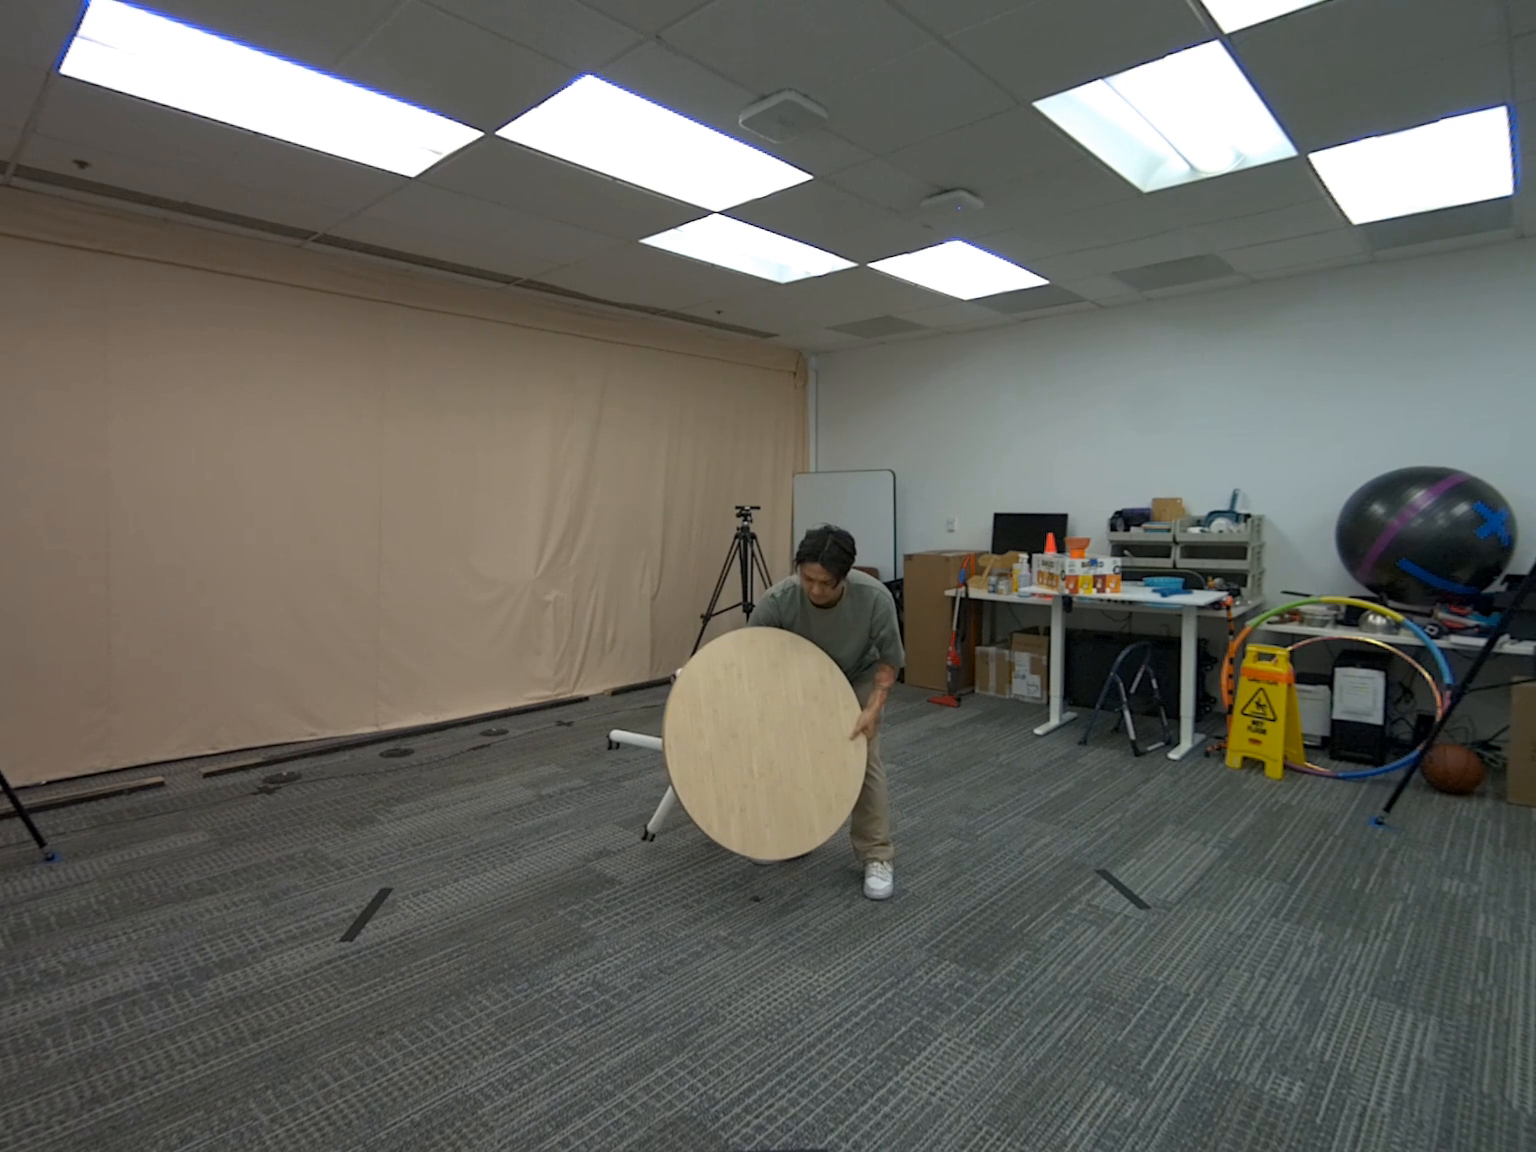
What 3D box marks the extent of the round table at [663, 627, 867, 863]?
[{"bbox_3d":[-0.168,0.659,3.185,0.766,0.794,0.797,-2,-16,-26],"label":"round table"}]
